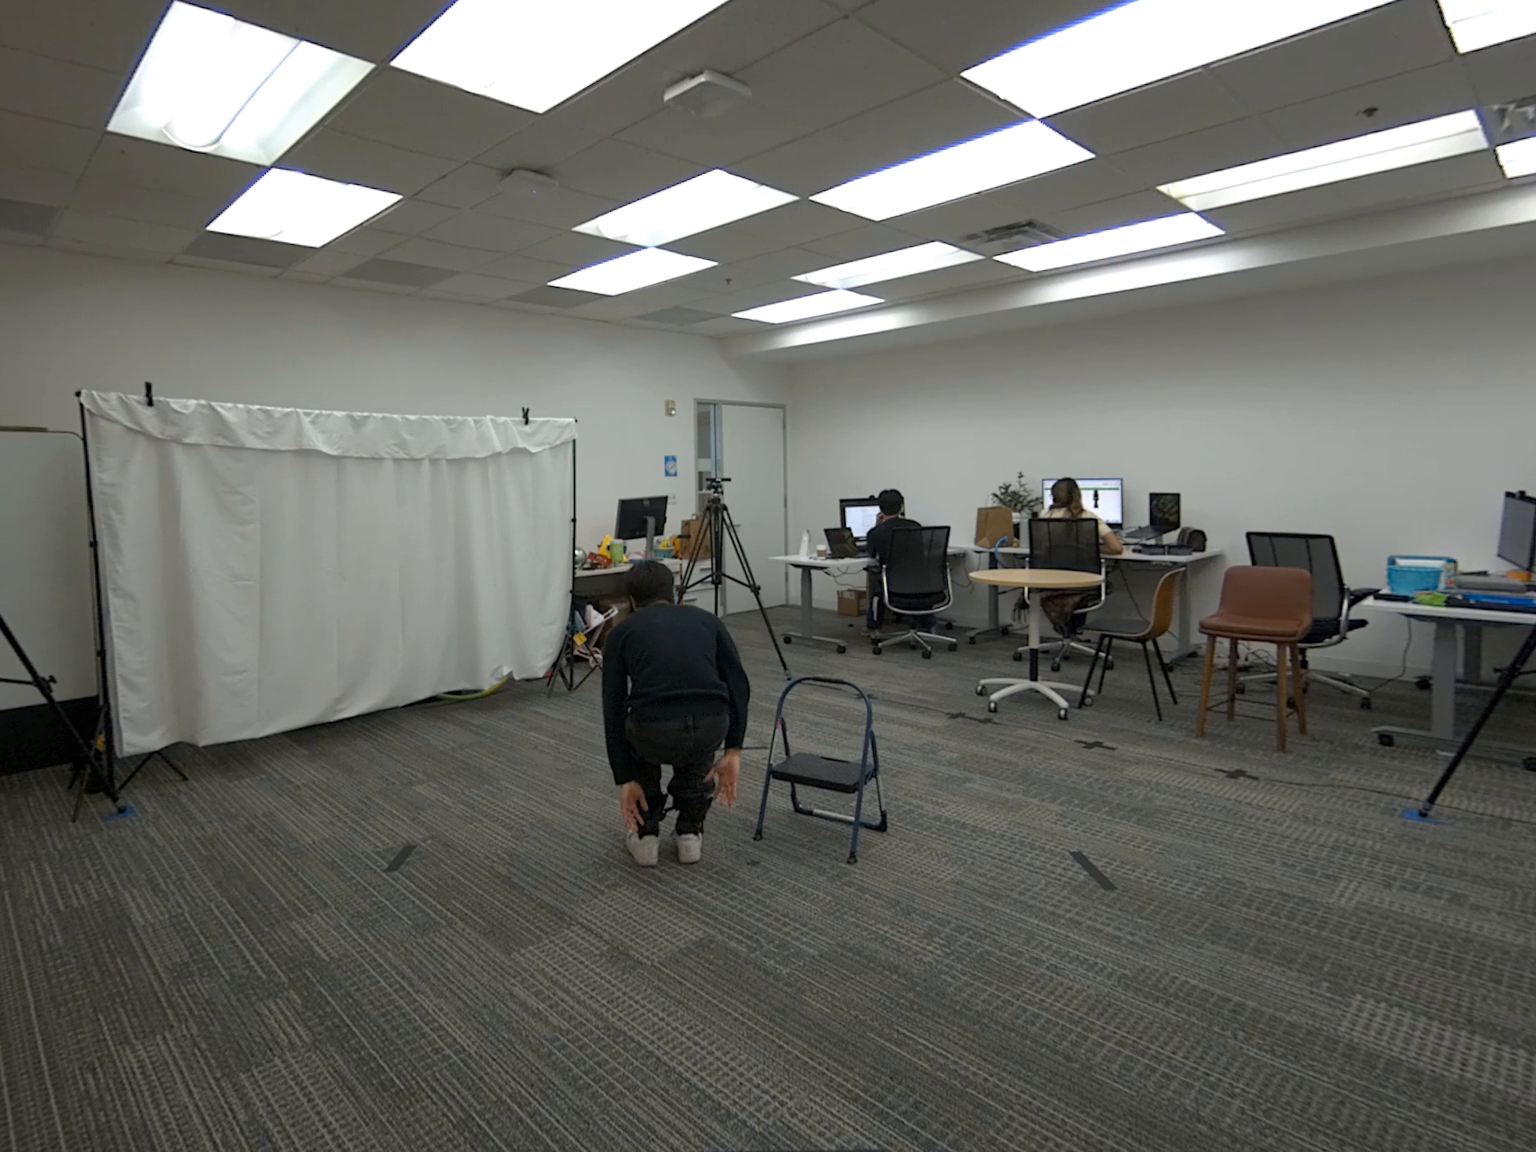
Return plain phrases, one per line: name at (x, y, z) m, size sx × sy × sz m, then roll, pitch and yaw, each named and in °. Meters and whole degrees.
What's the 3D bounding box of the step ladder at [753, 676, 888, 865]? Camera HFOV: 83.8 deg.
step ladder at (0.209, 0.709, 3.321) m, size 0.442 × 0.604 × 0.341 m, roll 3°, pitch 5°, yaw 31°
